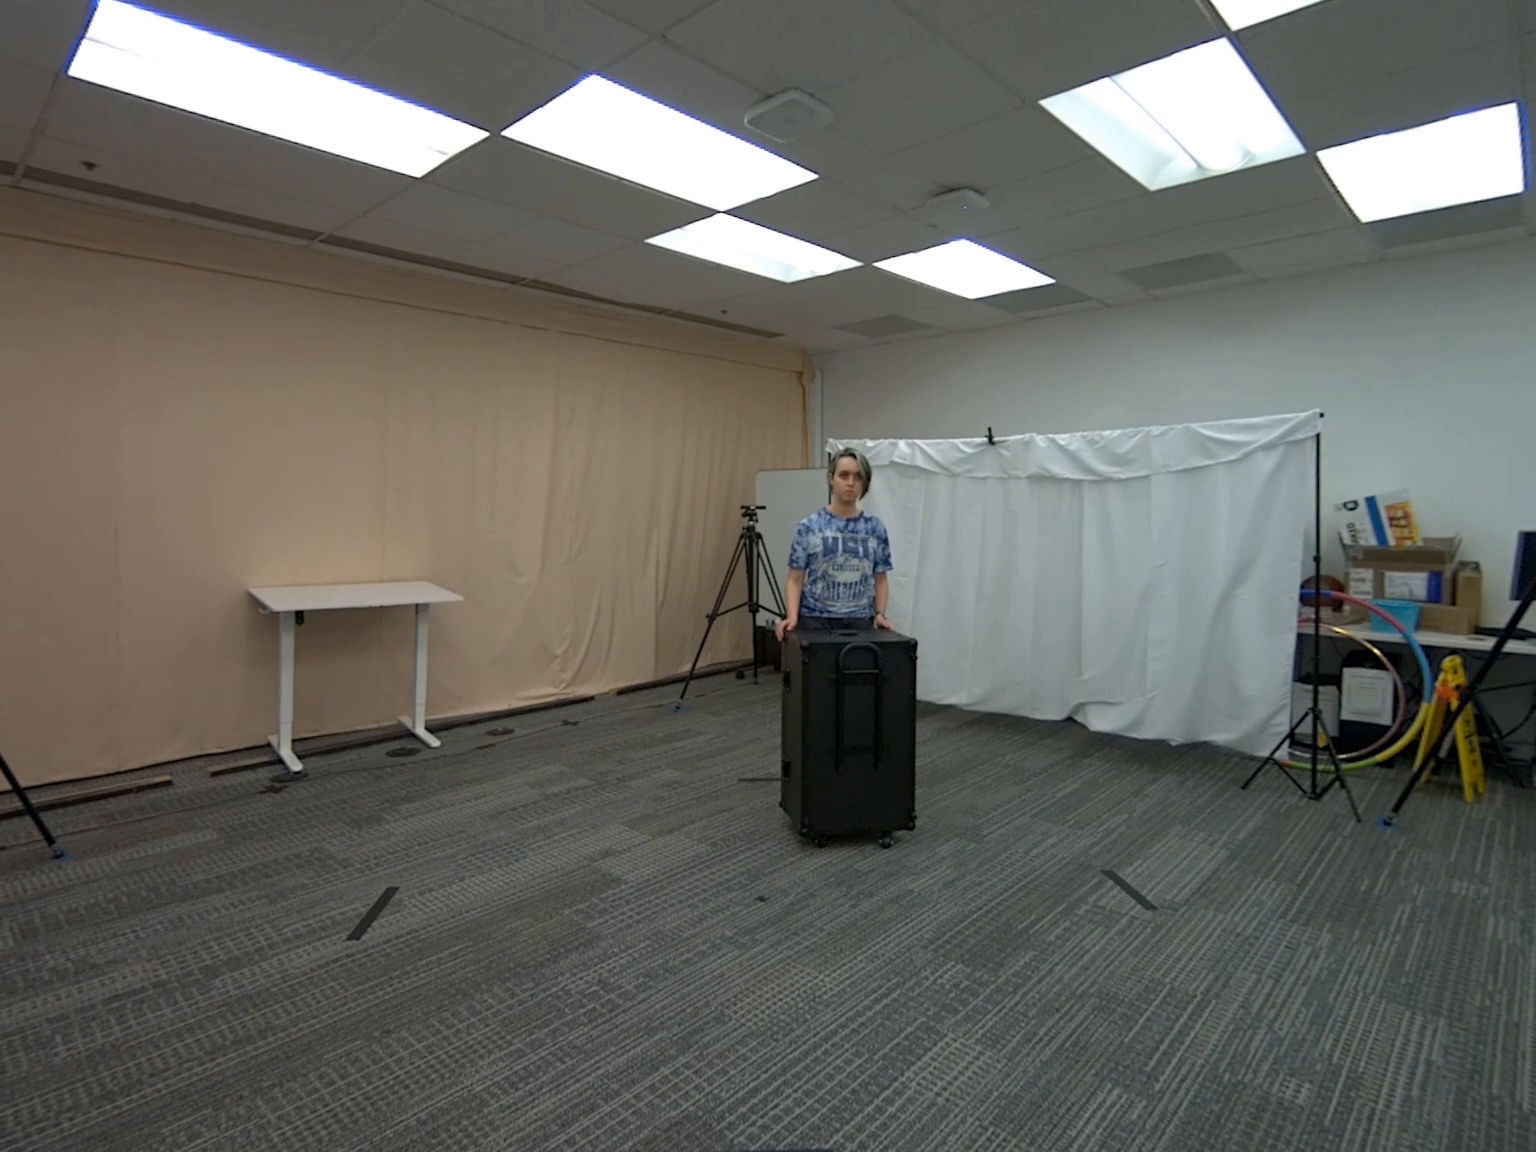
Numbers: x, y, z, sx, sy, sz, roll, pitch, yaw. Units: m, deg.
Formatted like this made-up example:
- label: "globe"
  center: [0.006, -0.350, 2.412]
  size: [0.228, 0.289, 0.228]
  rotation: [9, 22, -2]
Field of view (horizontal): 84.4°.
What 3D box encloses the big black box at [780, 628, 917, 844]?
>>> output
- label: "big black box"
  center: [0.338, 0.670, 3.546]
  size: [0.516, 0.859, 0.401]
  rotation: [0, 4, -10]
